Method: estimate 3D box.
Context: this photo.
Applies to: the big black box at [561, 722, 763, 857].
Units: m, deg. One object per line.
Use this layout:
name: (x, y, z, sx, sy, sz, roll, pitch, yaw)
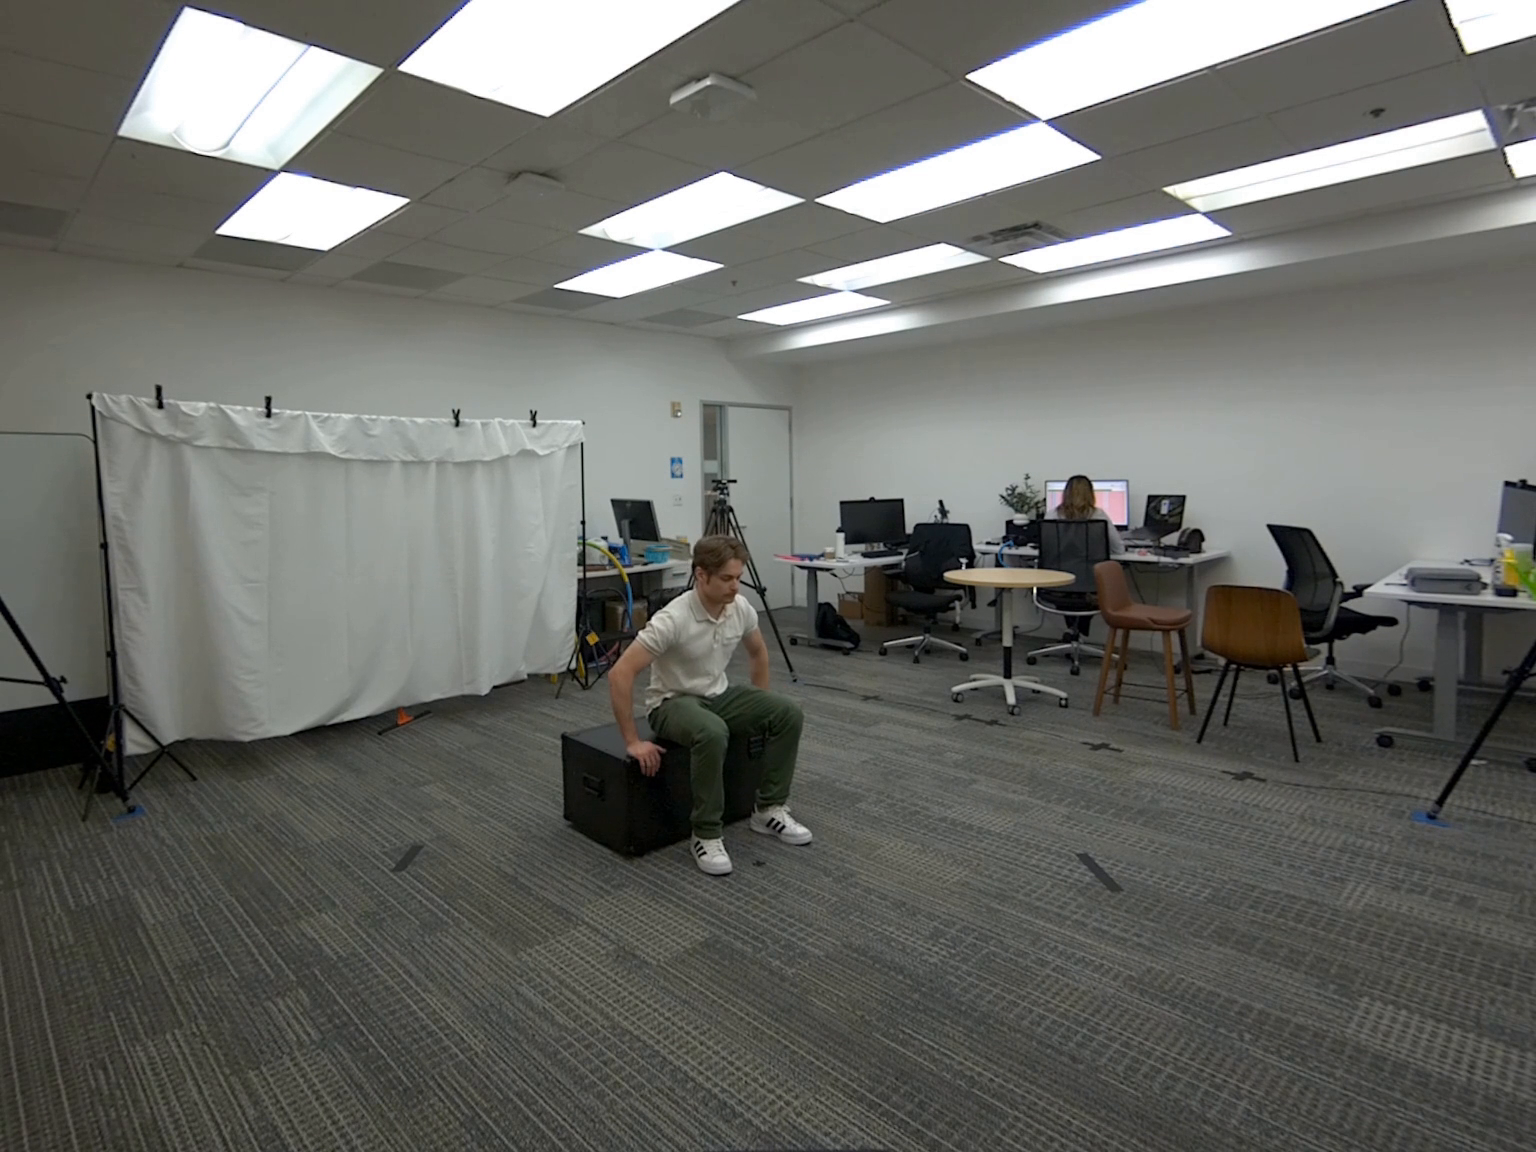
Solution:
big black box: (-0.365, 0.809, 3.580, 0.846, 0.384, 0.539, -6, 6, -41)
